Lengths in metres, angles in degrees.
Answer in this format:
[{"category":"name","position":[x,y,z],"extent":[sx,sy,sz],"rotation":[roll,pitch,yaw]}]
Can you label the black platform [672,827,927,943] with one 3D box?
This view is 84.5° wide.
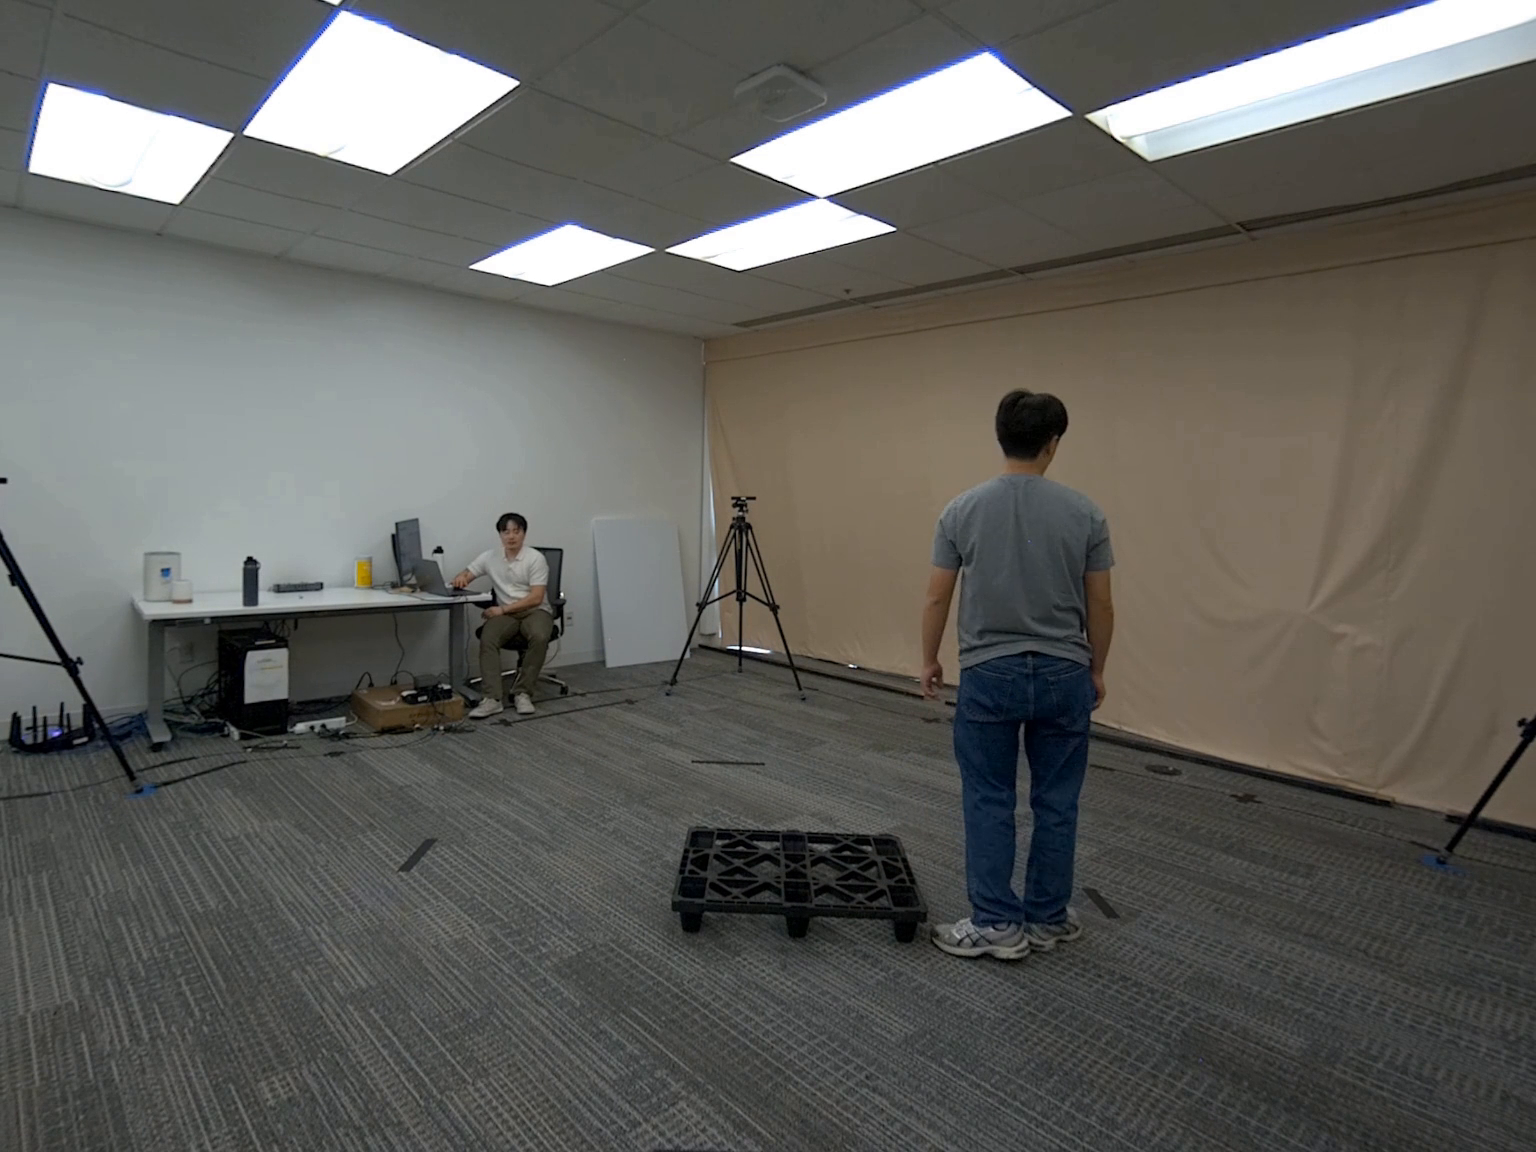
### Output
[{"category":"black platform","position":[0.085,1.059,2.910],"extent":[0.807,0.143,0.605],"rotation":[2,4,2]}]
